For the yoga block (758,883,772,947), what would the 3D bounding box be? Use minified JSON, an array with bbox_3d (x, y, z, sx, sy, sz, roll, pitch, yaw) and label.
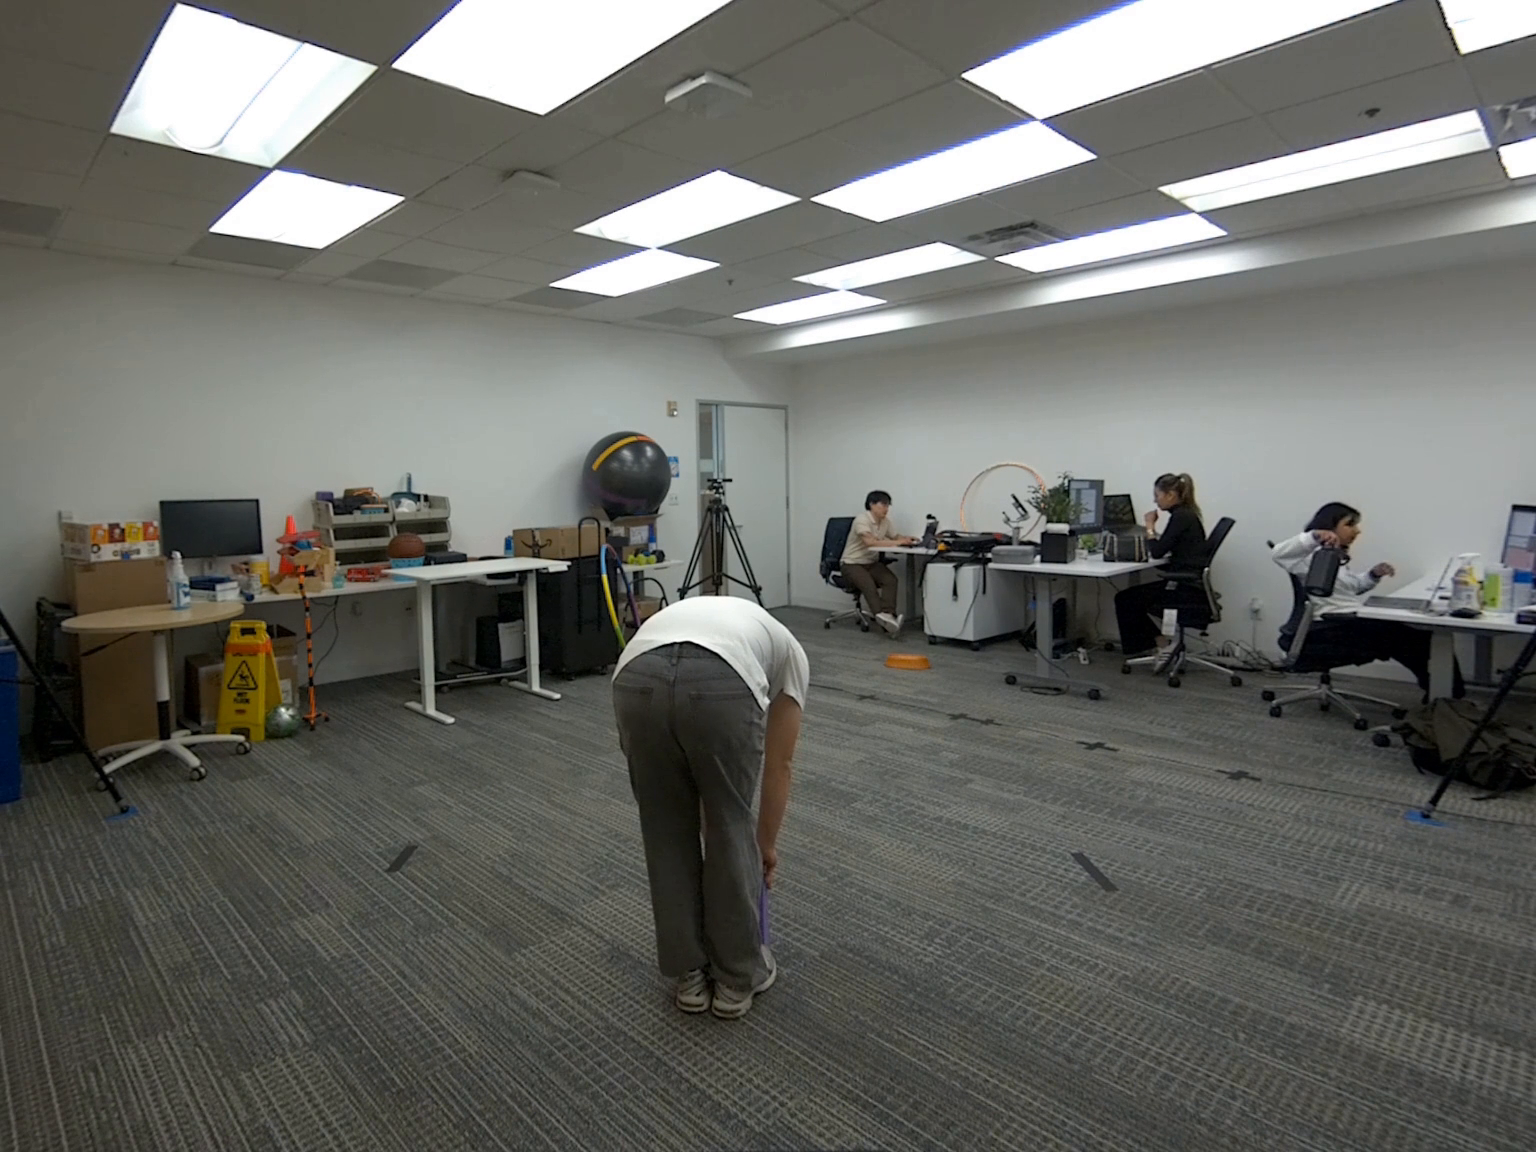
[{"bbox_3d":[-0.063,1.004,2.548,0.151,0.229,0.076,0,3,11],"label":"yoga block"}]
